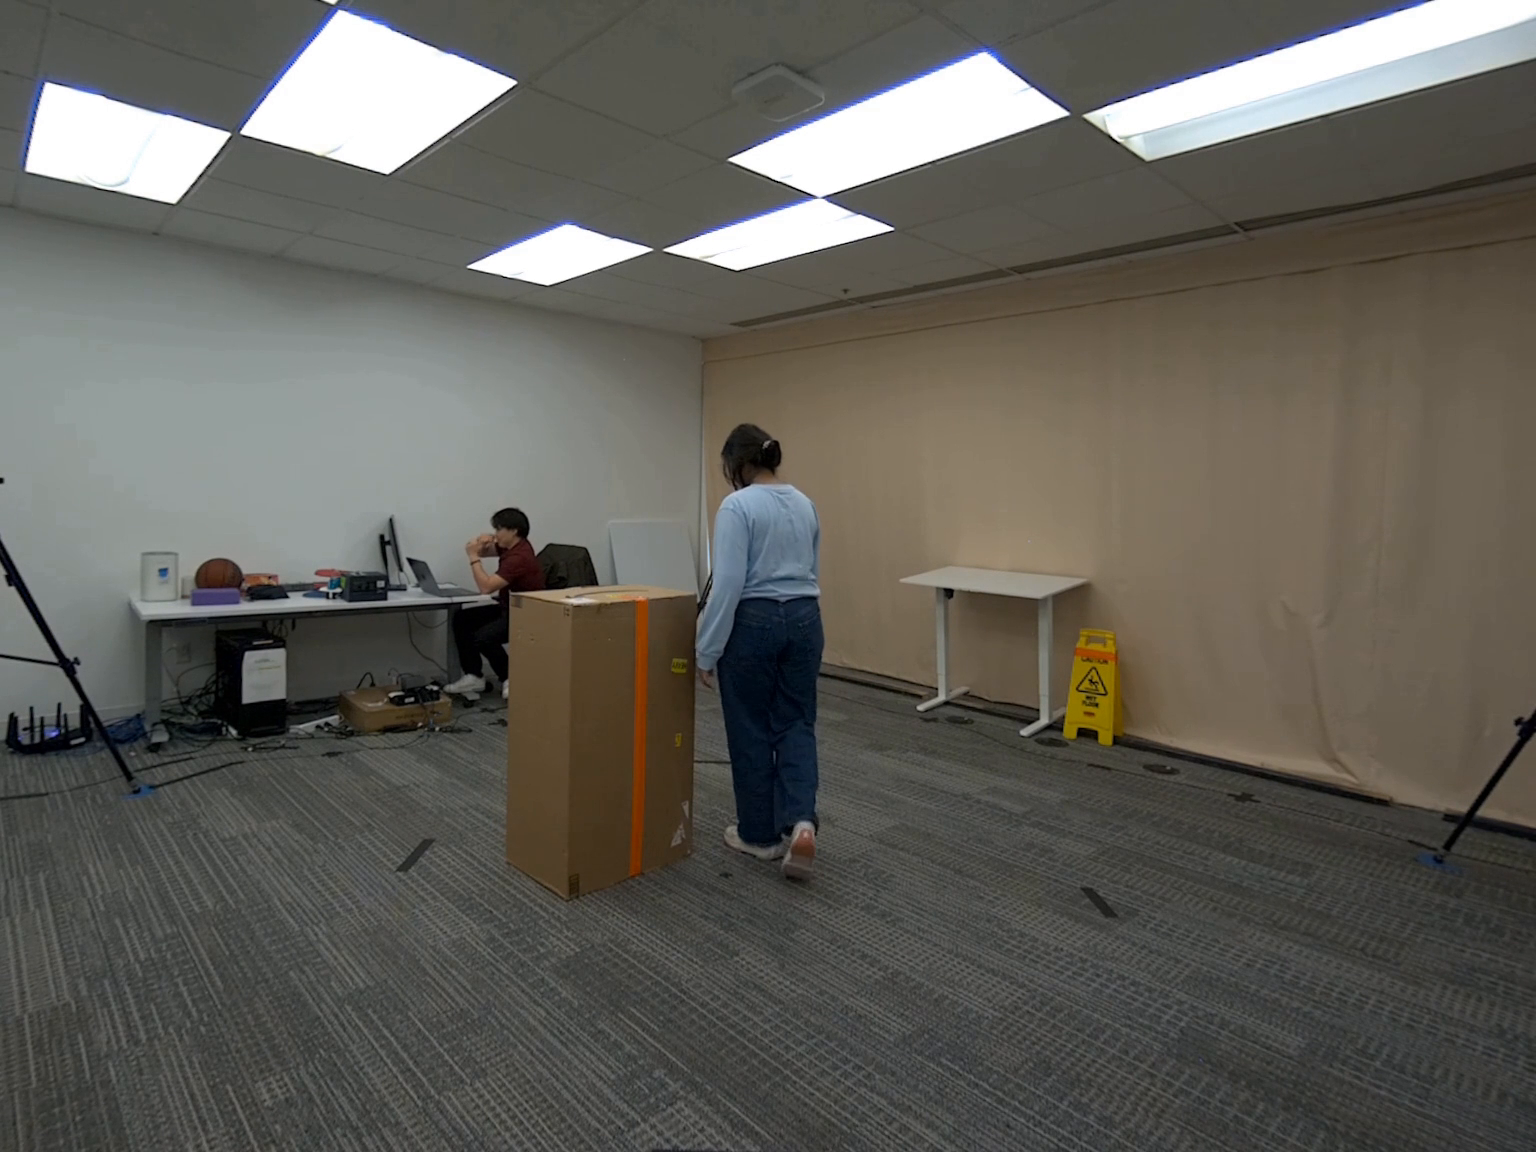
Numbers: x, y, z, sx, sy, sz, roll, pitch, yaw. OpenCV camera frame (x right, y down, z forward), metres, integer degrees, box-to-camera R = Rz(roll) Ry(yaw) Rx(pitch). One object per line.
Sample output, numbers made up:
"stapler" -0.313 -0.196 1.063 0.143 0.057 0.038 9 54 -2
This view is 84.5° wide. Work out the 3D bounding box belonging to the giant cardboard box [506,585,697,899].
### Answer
"giant cardboard box" -0.635 0.575 3.197 0.570 1.024 0.458 -2 5 -45
